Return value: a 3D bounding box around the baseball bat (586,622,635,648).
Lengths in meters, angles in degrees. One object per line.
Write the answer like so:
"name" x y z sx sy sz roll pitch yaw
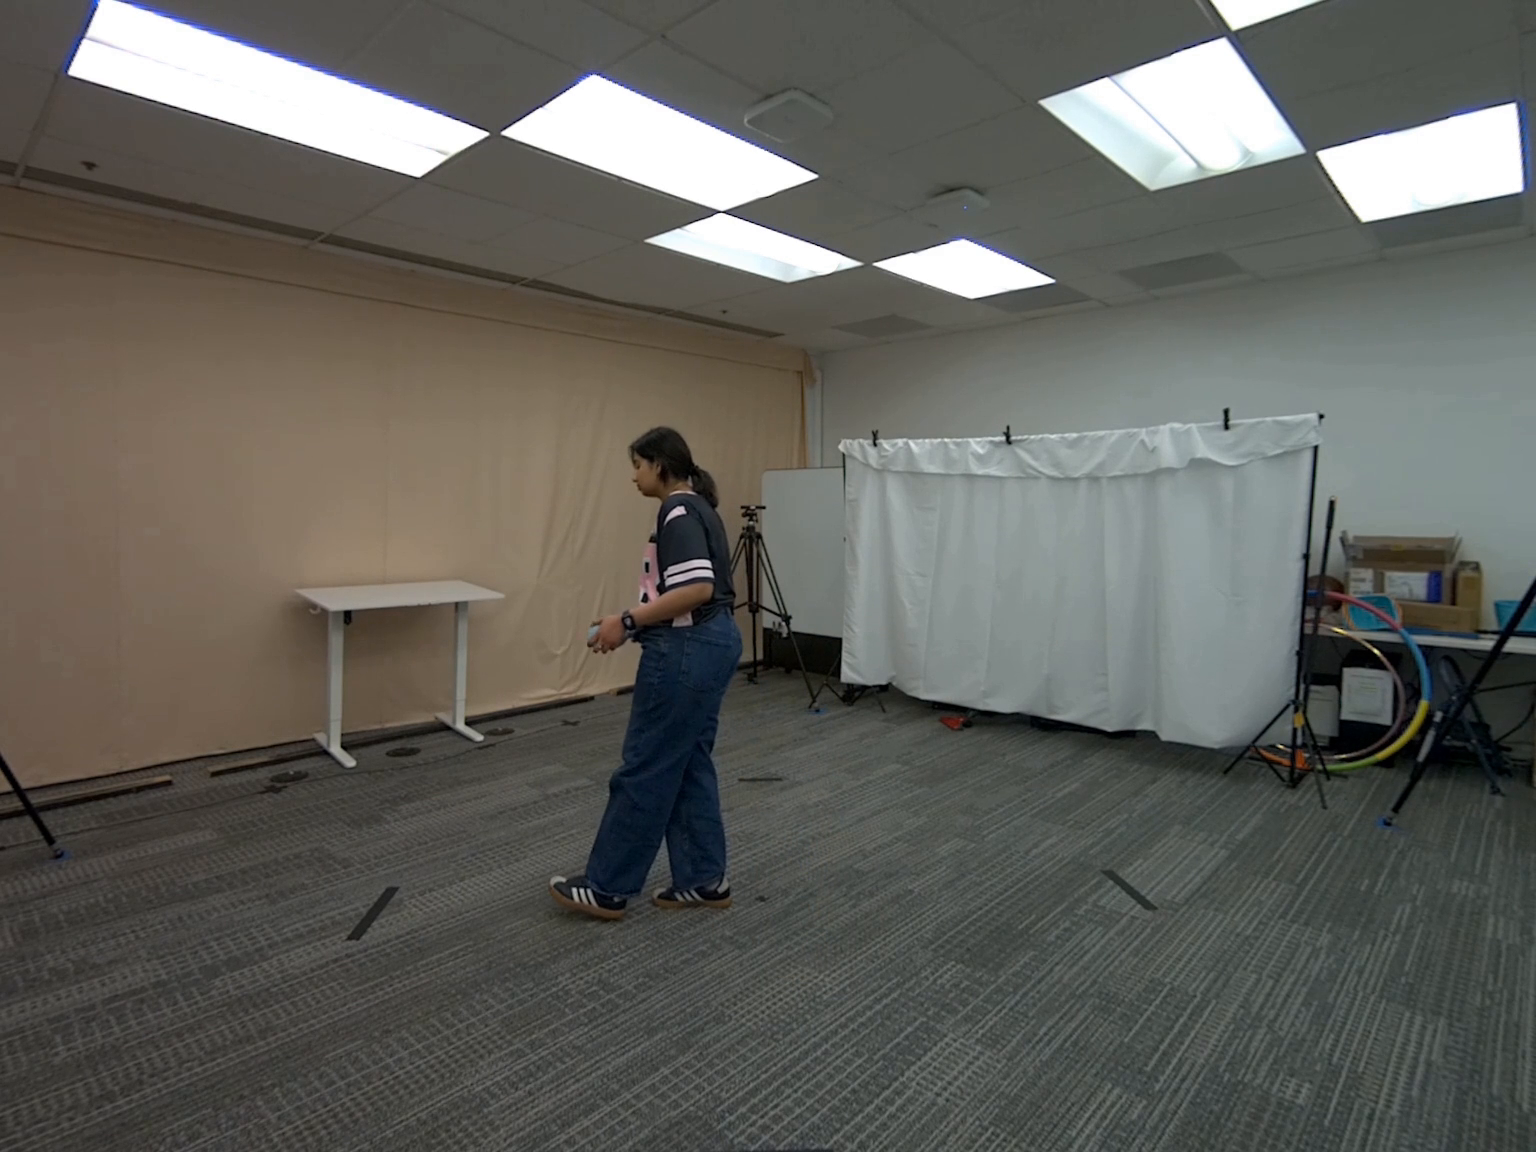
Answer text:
"baseball bat" -0.523 0.218 2.944 0.089 0.089 0.538 0 -4 3
